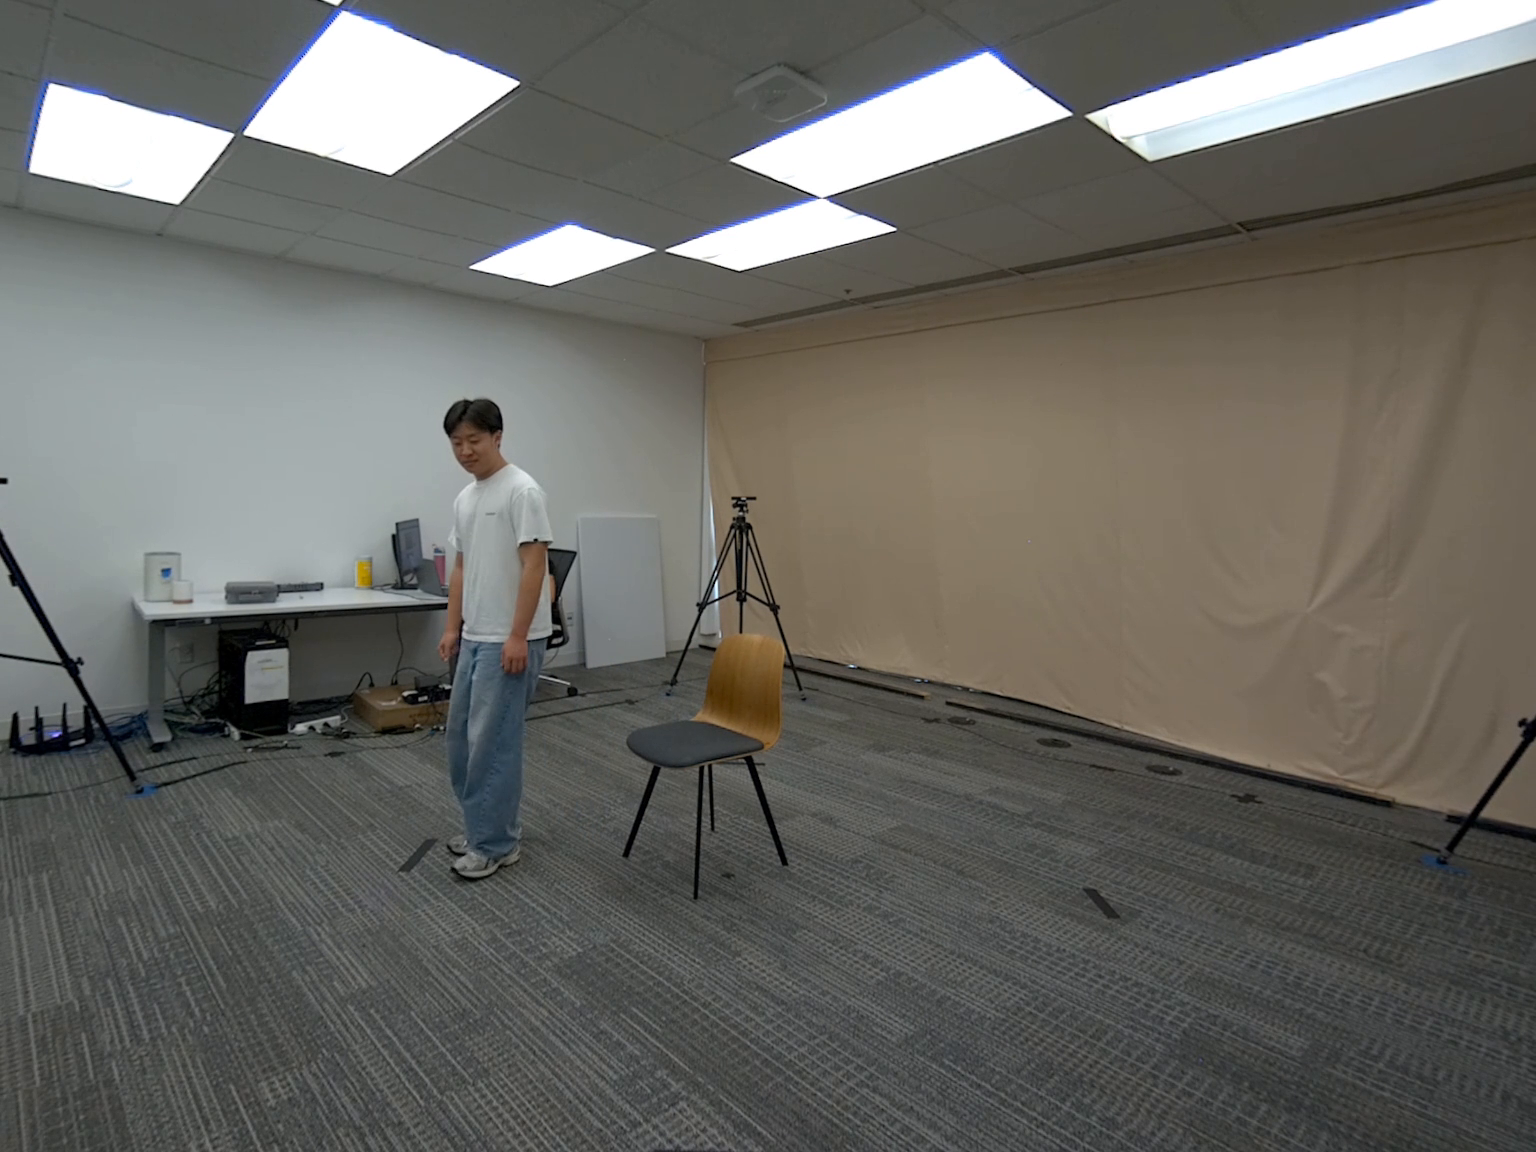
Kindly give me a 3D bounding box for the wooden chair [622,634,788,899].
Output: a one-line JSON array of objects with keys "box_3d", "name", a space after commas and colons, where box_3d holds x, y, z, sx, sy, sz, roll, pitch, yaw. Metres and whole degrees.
[{"box_3d": [-0.245, 0.669, 3.188, 0.510, 0.877, 0.490, 4, 1, -42], "name": "wooden chair"}]
